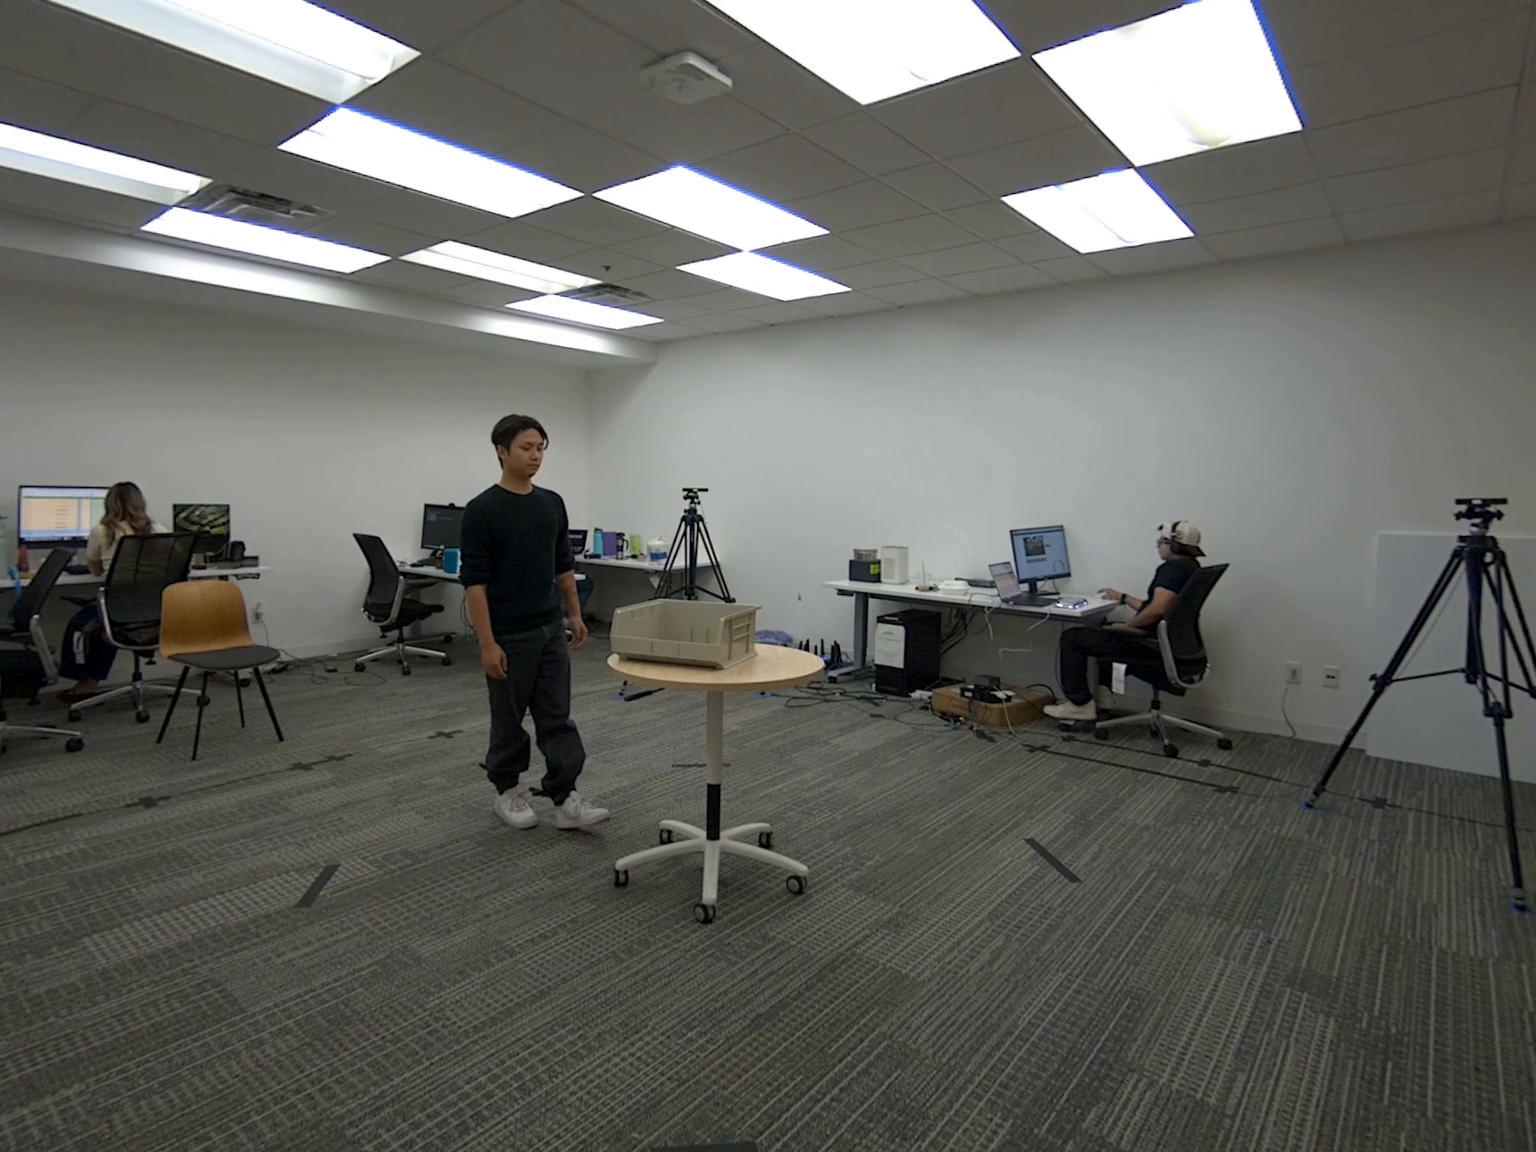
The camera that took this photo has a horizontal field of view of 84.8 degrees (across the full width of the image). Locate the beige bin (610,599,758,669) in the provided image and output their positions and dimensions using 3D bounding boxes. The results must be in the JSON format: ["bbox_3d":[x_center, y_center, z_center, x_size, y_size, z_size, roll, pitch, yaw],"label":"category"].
[{"bbox_3d":[-0.300,0.200,3.048,0.432,0.188,0.369,2,4,22],"label":"beige bin"}]
